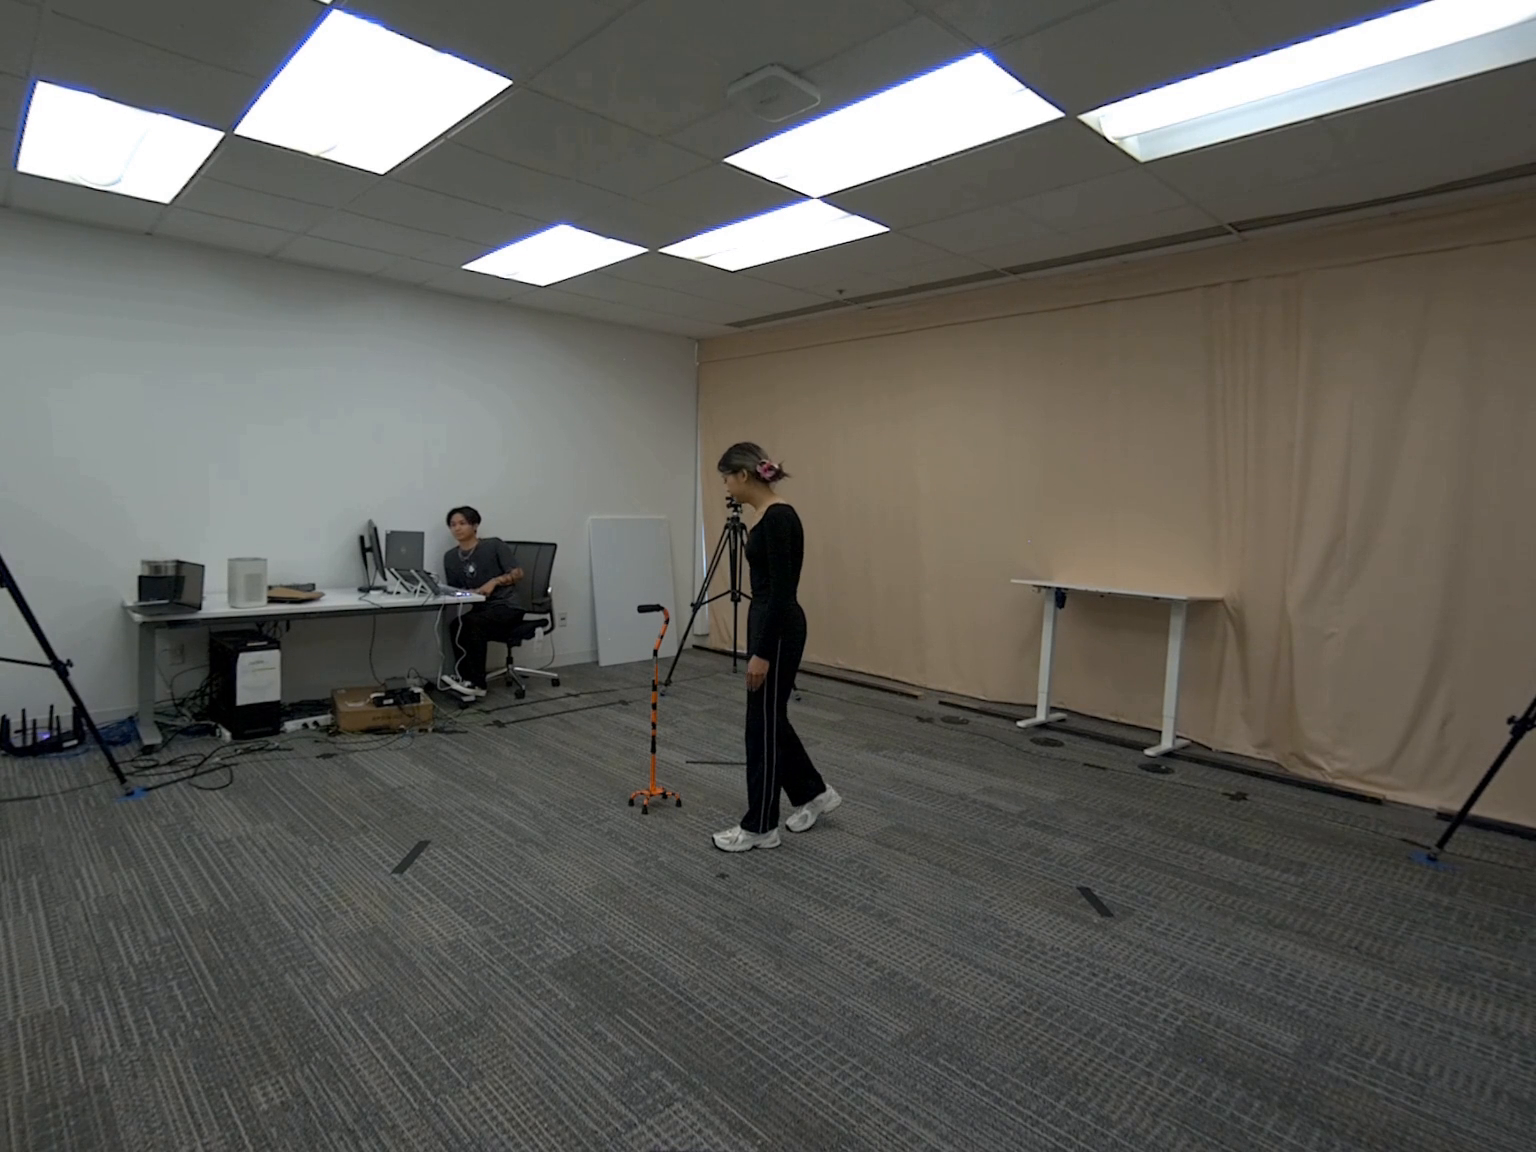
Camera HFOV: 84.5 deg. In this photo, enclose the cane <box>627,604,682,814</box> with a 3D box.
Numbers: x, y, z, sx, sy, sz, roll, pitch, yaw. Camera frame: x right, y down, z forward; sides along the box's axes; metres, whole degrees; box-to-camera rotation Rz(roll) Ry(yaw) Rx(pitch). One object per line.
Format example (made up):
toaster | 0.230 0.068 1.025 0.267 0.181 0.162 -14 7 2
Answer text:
cane | -0.505 0.584 3.777 0.202 0.906 0.155 -1 3 -37
